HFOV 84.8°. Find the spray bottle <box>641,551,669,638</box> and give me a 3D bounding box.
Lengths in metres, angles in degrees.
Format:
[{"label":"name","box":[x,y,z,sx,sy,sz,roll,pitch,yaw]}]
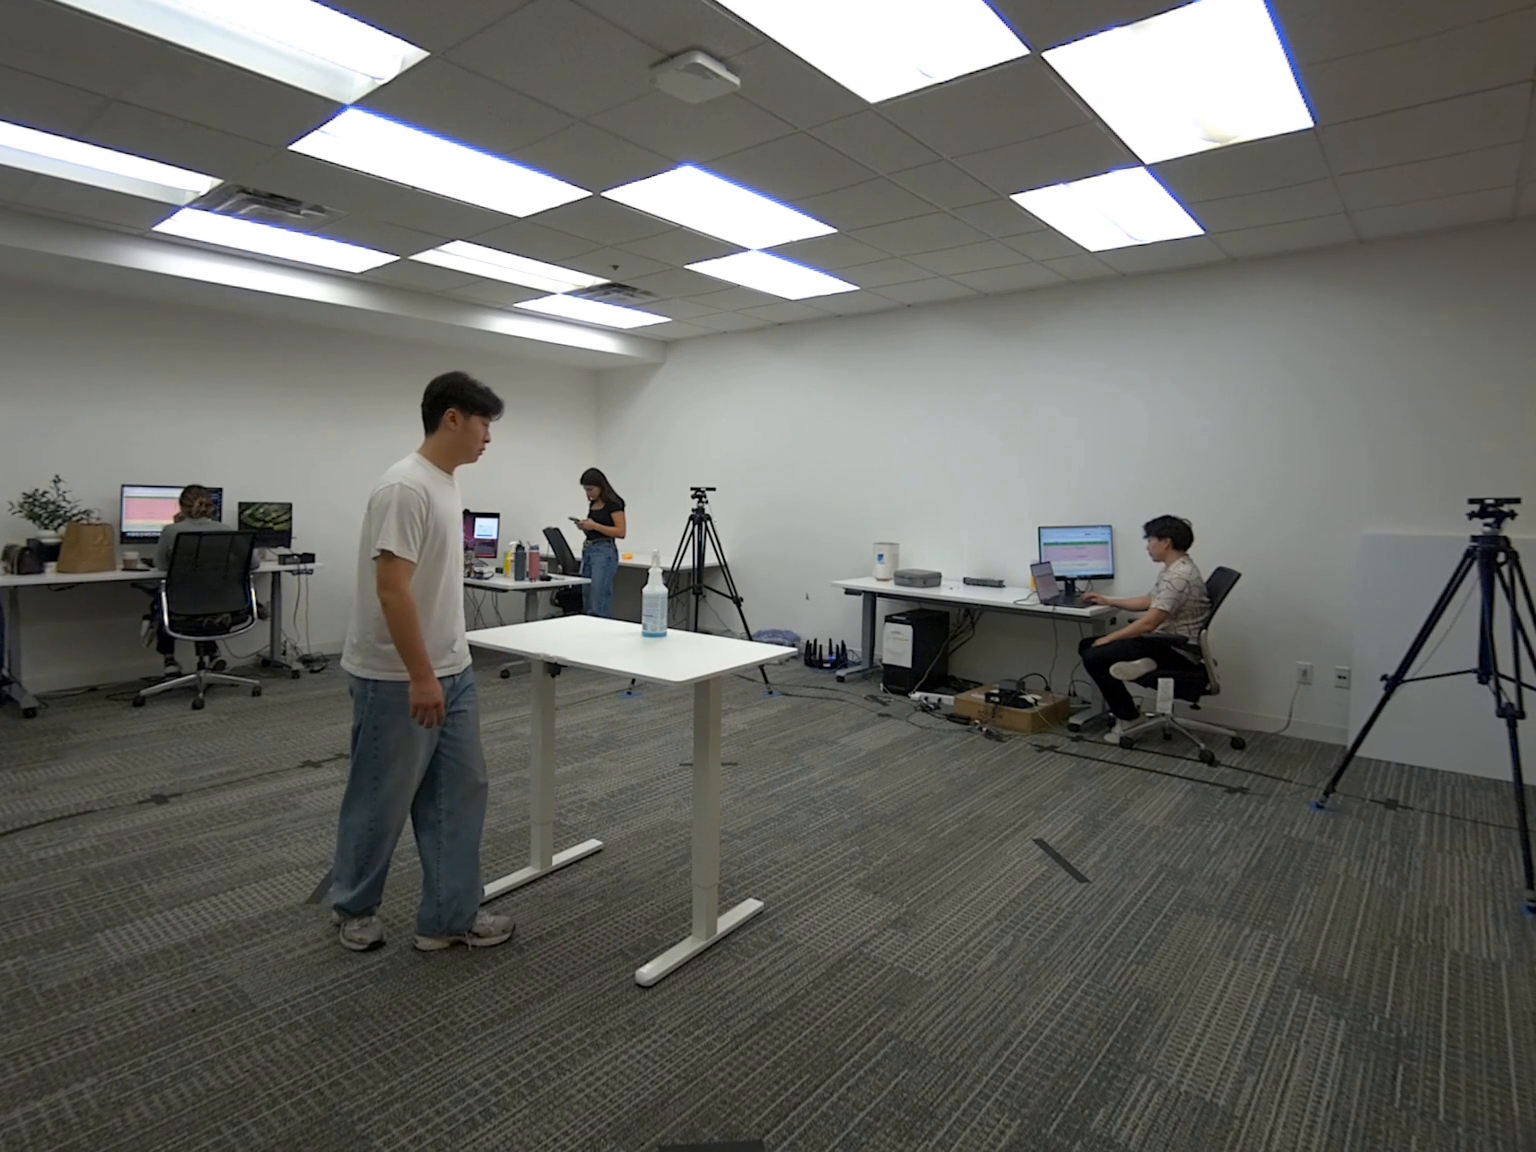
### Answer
[{"label":"spray bottle","box":[-0.397,0.059,2.898,0.089,0.296,0.088,3,5,25]}]
